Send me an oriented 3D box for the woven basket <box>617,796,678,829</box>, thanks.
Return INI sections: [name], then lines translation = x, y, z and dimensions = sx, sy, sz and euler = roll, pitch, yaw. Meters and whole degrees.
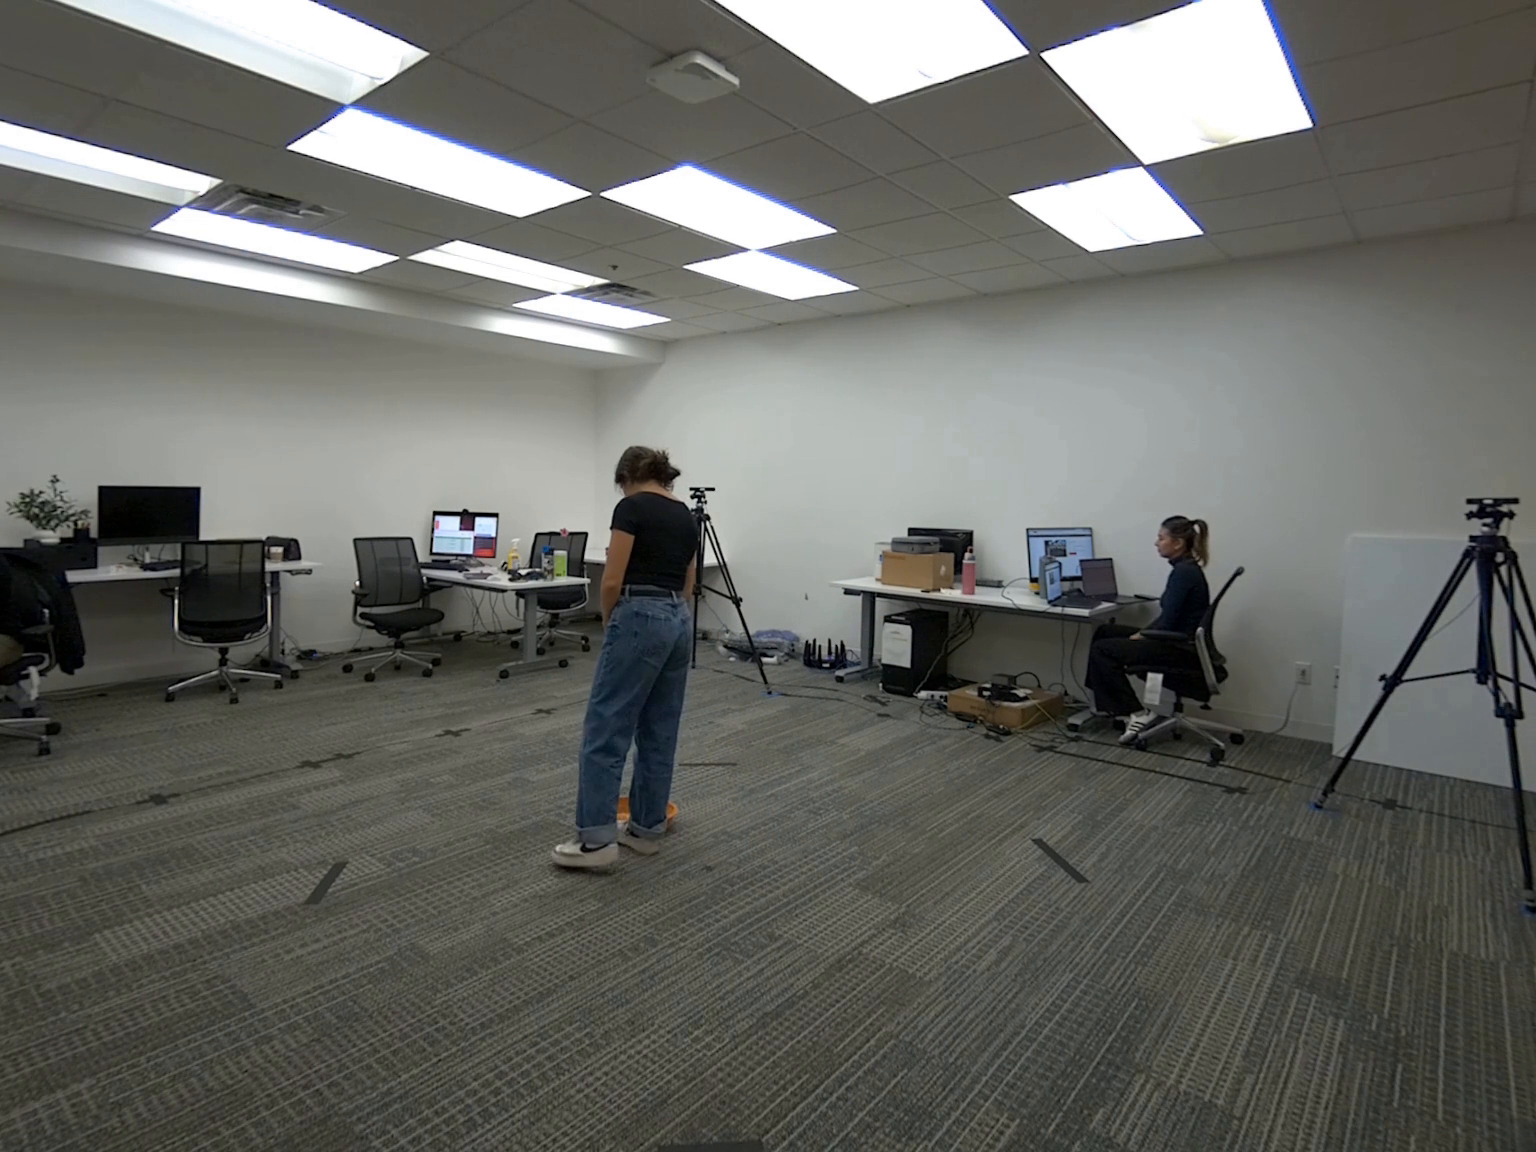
[woven basket]
translation = -0.551, 0.979, 3.489
dimensions = 0.356, 0.073, 0.249
euler = 3, 5, 15
